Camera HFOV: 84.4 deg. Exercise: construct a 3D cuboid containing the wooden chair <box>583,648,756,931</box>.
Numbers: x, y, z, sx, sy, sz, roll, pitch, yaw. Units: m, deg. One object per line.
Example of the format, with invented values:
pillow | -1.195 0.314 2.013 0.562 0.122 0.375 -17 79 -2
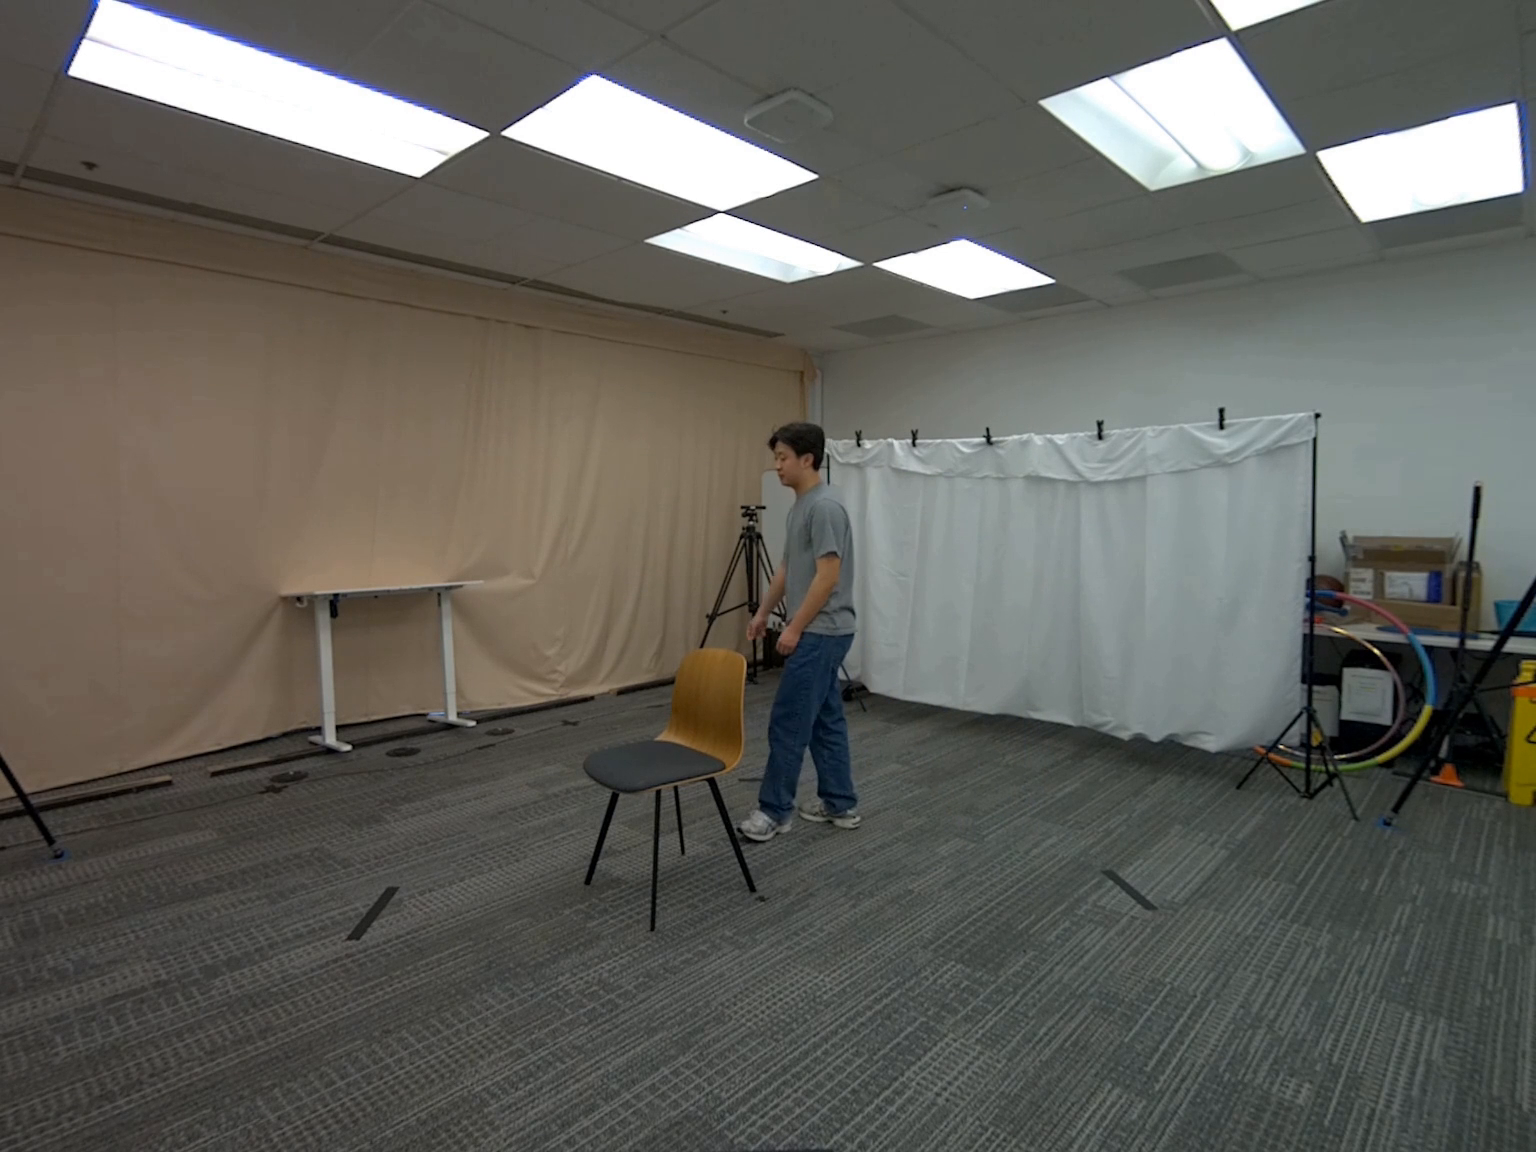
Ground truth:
wooden chair | -0.368 0.716 3.036 0.506 0.877 0.494 3 1 -40
